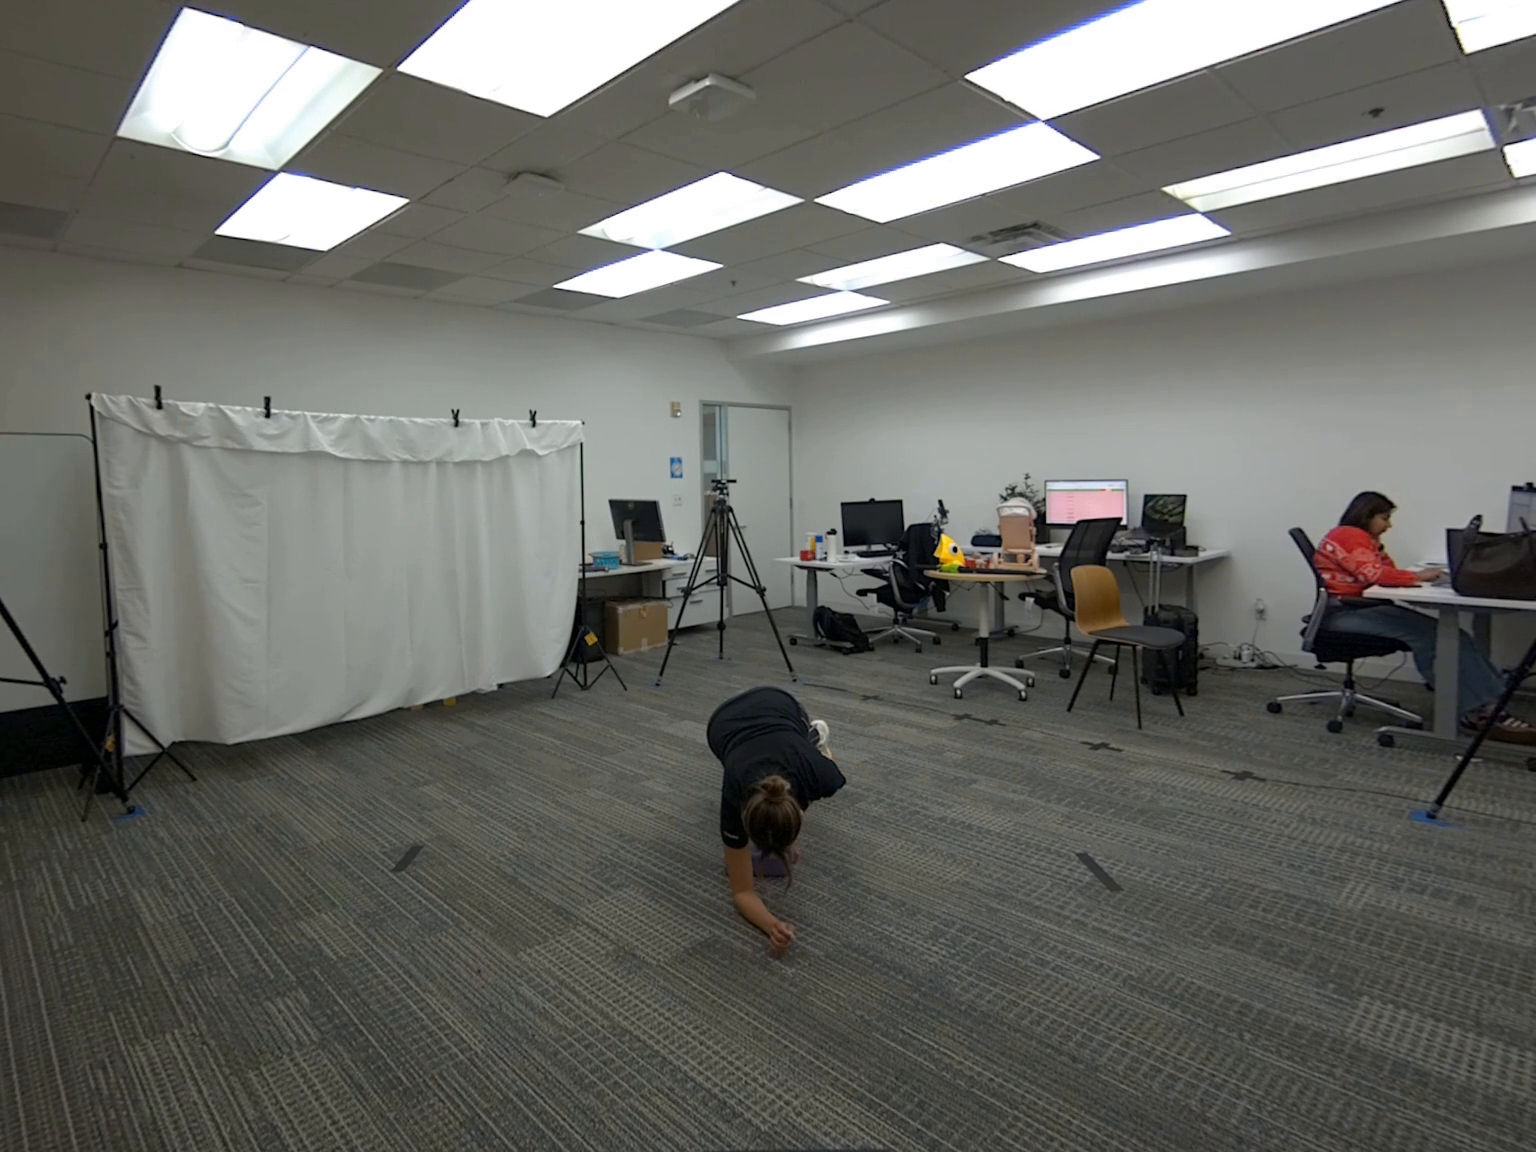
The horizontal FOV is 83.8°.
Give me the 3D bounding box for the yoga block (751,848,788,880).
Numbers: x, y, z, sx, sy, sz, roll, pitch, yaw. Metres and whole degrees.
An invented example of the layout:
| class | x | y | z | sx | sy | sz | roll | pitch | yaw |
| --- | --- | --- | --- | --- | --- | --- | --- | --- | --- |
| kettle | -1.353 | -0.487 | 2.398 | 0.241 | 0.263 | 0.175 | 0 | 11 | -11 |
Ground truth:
| class | x | y | z | sx | sy | sz | roll | pitch | yaw |
| --- | --- | --- | --- | --- | --- | --- | --- | --- | --- |
| yoga block | -0.034 | 1.017 | 3.073 | 0.231 | 0.076 | 0.149 | 1 | 6 | 5 |
